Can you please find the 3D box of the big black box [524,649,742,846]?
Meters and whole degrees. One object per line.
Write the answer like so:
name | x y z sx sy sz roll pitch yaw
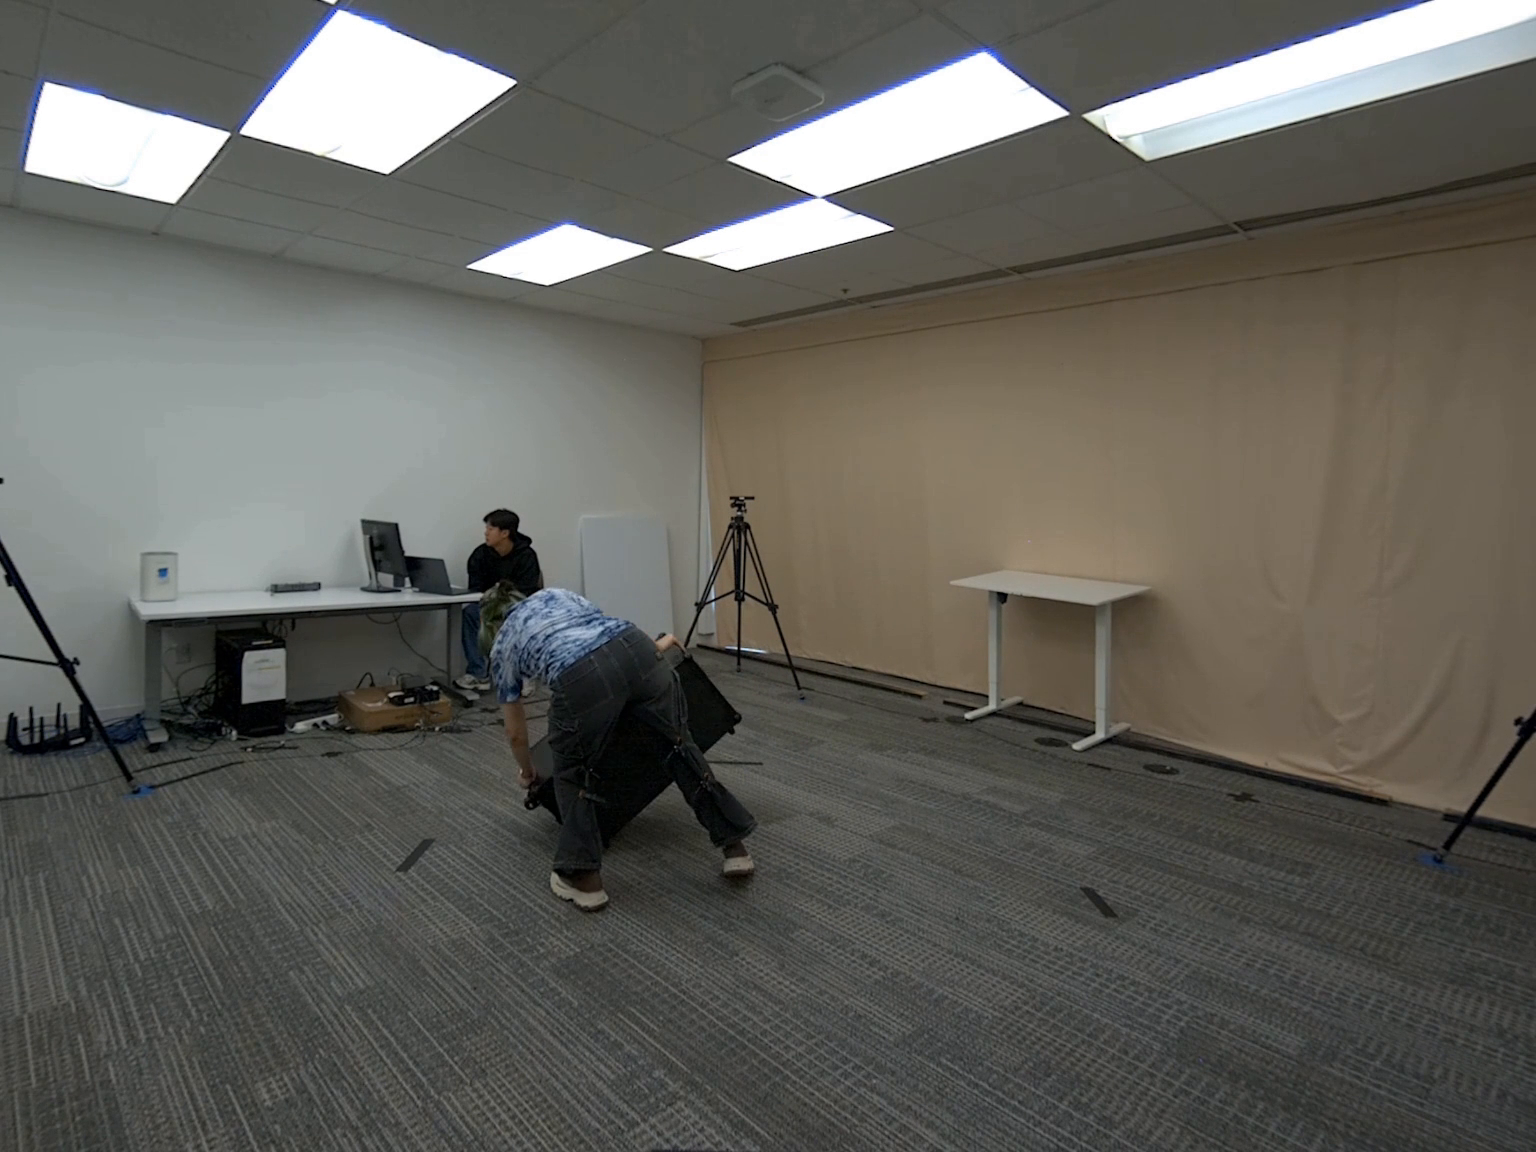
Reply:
big black box | -0.547 0.661 3.486 0.860 0.391 0.528 -42 13 -9
